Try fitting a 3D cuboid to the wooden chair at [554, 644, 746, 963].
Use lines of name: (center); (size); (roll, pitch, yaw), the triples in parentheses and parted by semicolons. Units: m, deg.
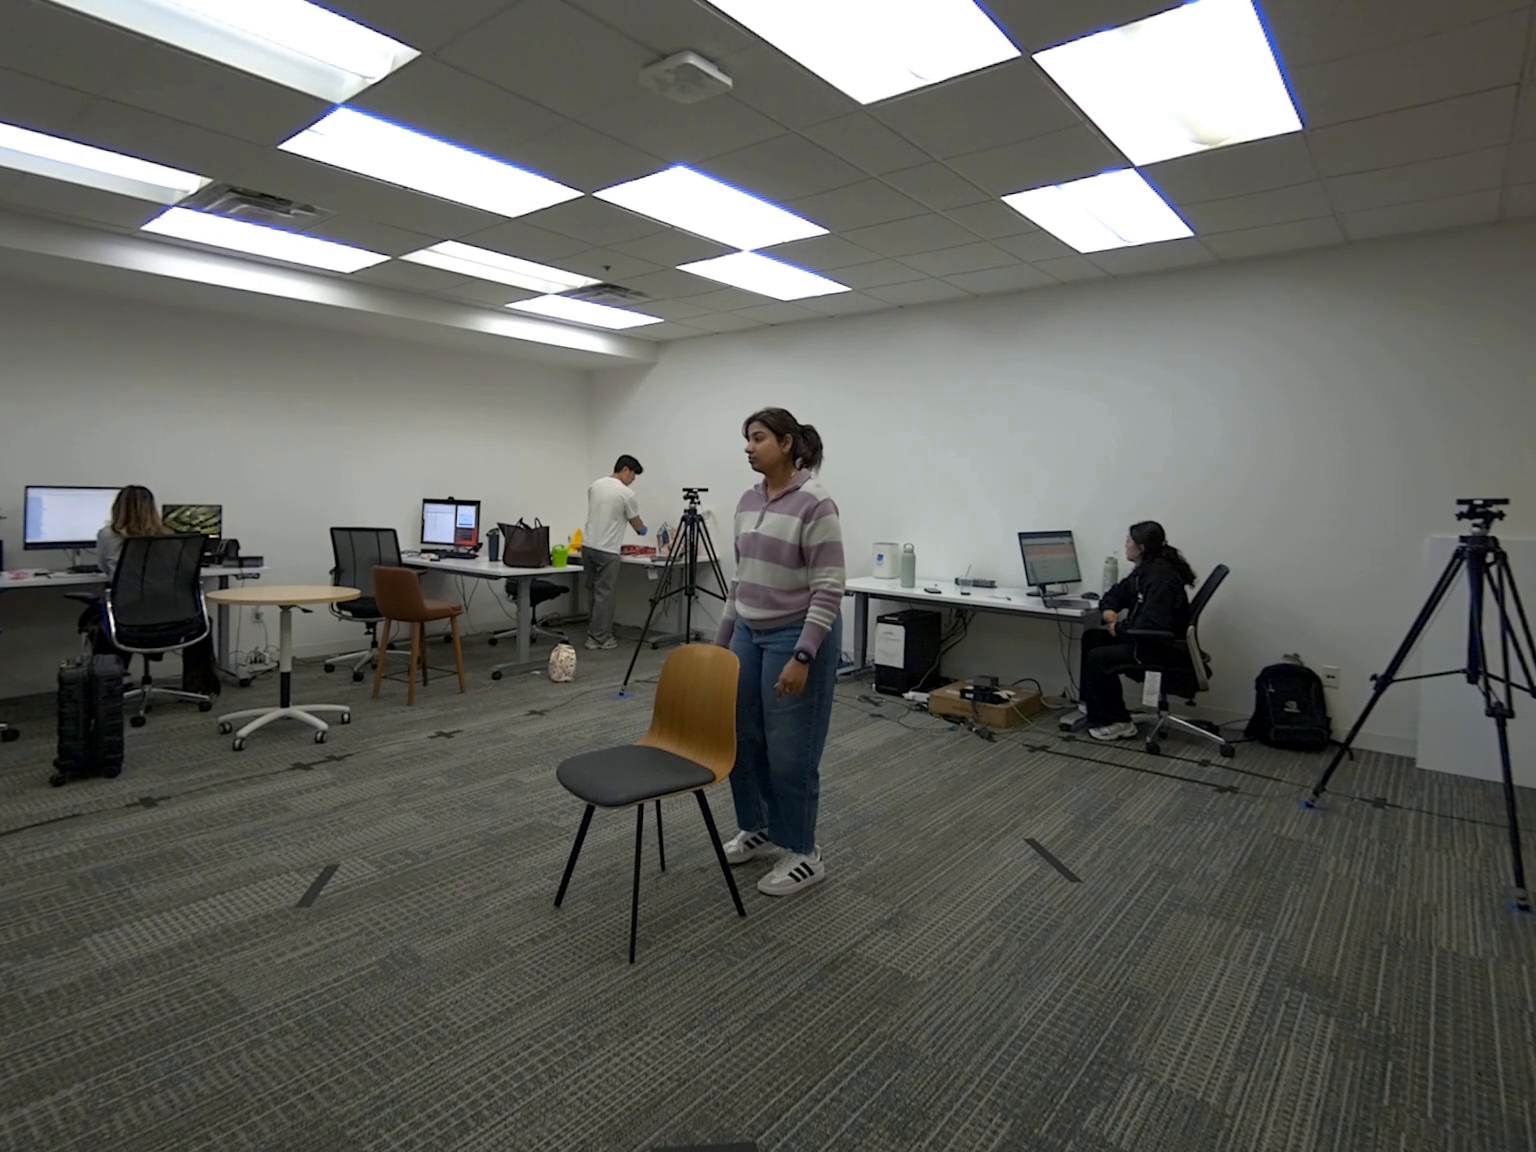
wooden chair: (-0.399, 0.676, 2.756); (0.506, 0.877, 0.494); (3, 1, -42)
